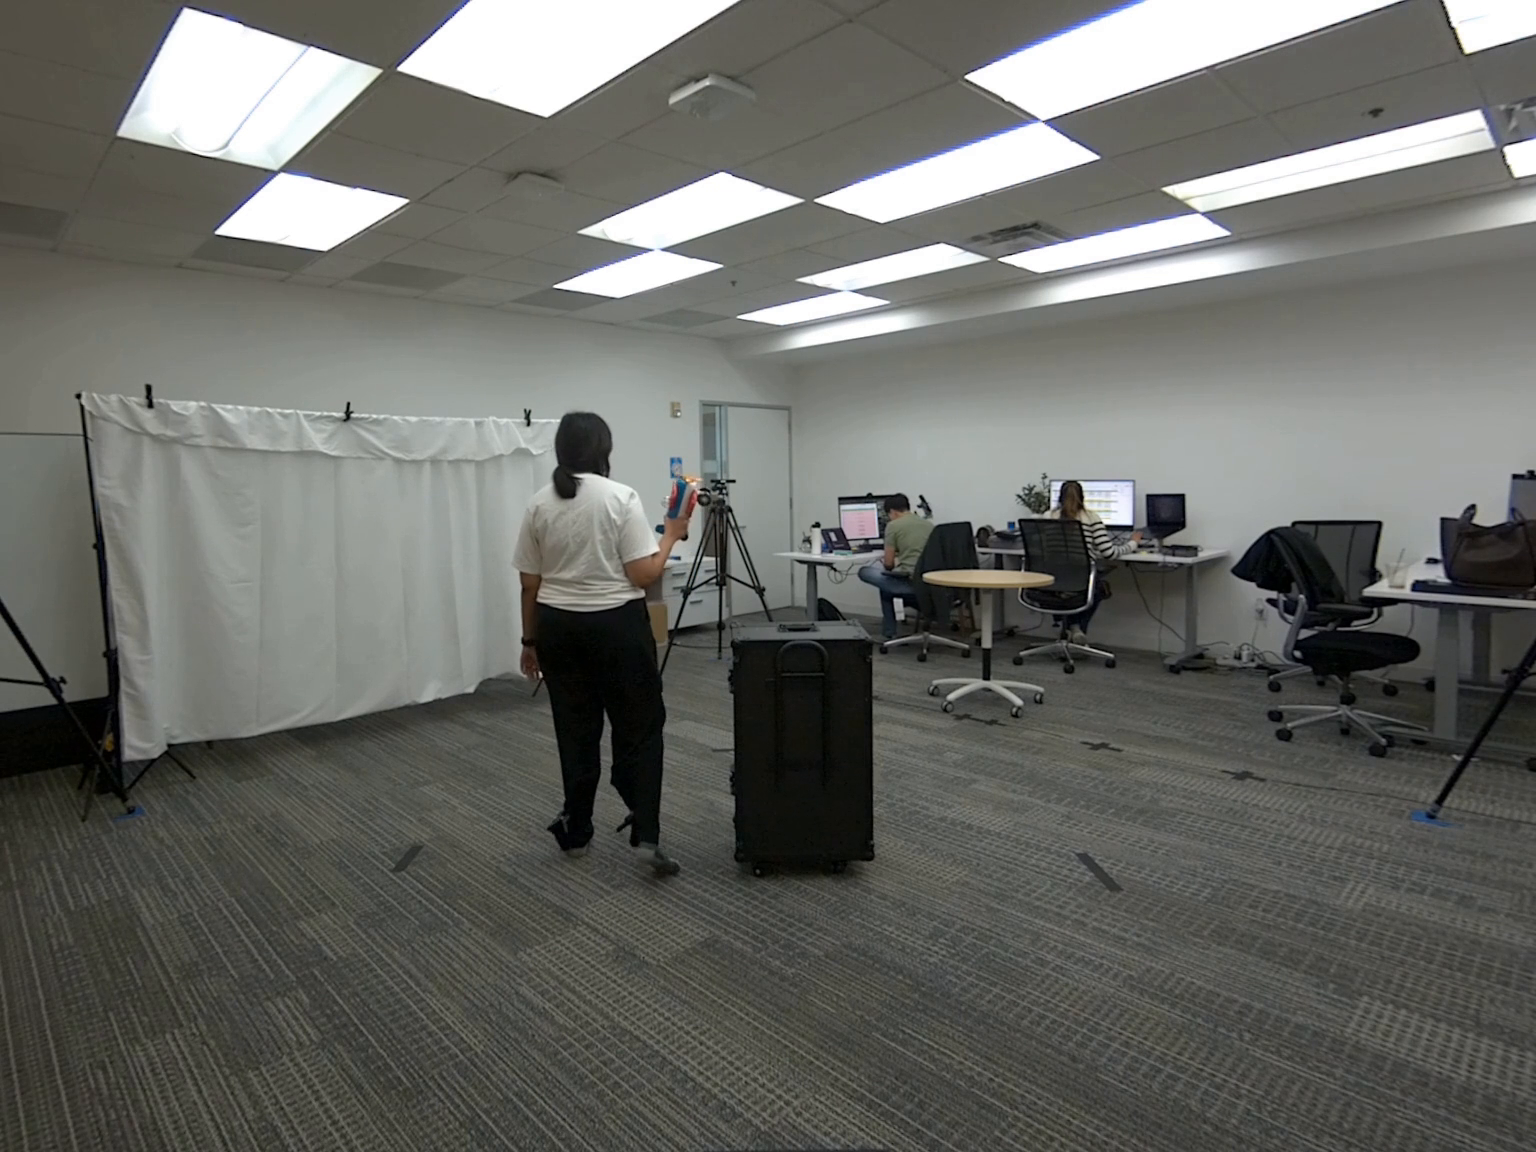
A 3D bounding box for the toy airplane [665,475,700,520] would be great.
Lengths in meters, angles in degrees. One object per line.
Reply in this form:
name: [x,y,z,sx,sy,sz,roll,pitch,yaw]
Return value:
toy airplane: [-0.329,-0.258,3.305,0.154,0.260,0.254,30,-14,-13]
